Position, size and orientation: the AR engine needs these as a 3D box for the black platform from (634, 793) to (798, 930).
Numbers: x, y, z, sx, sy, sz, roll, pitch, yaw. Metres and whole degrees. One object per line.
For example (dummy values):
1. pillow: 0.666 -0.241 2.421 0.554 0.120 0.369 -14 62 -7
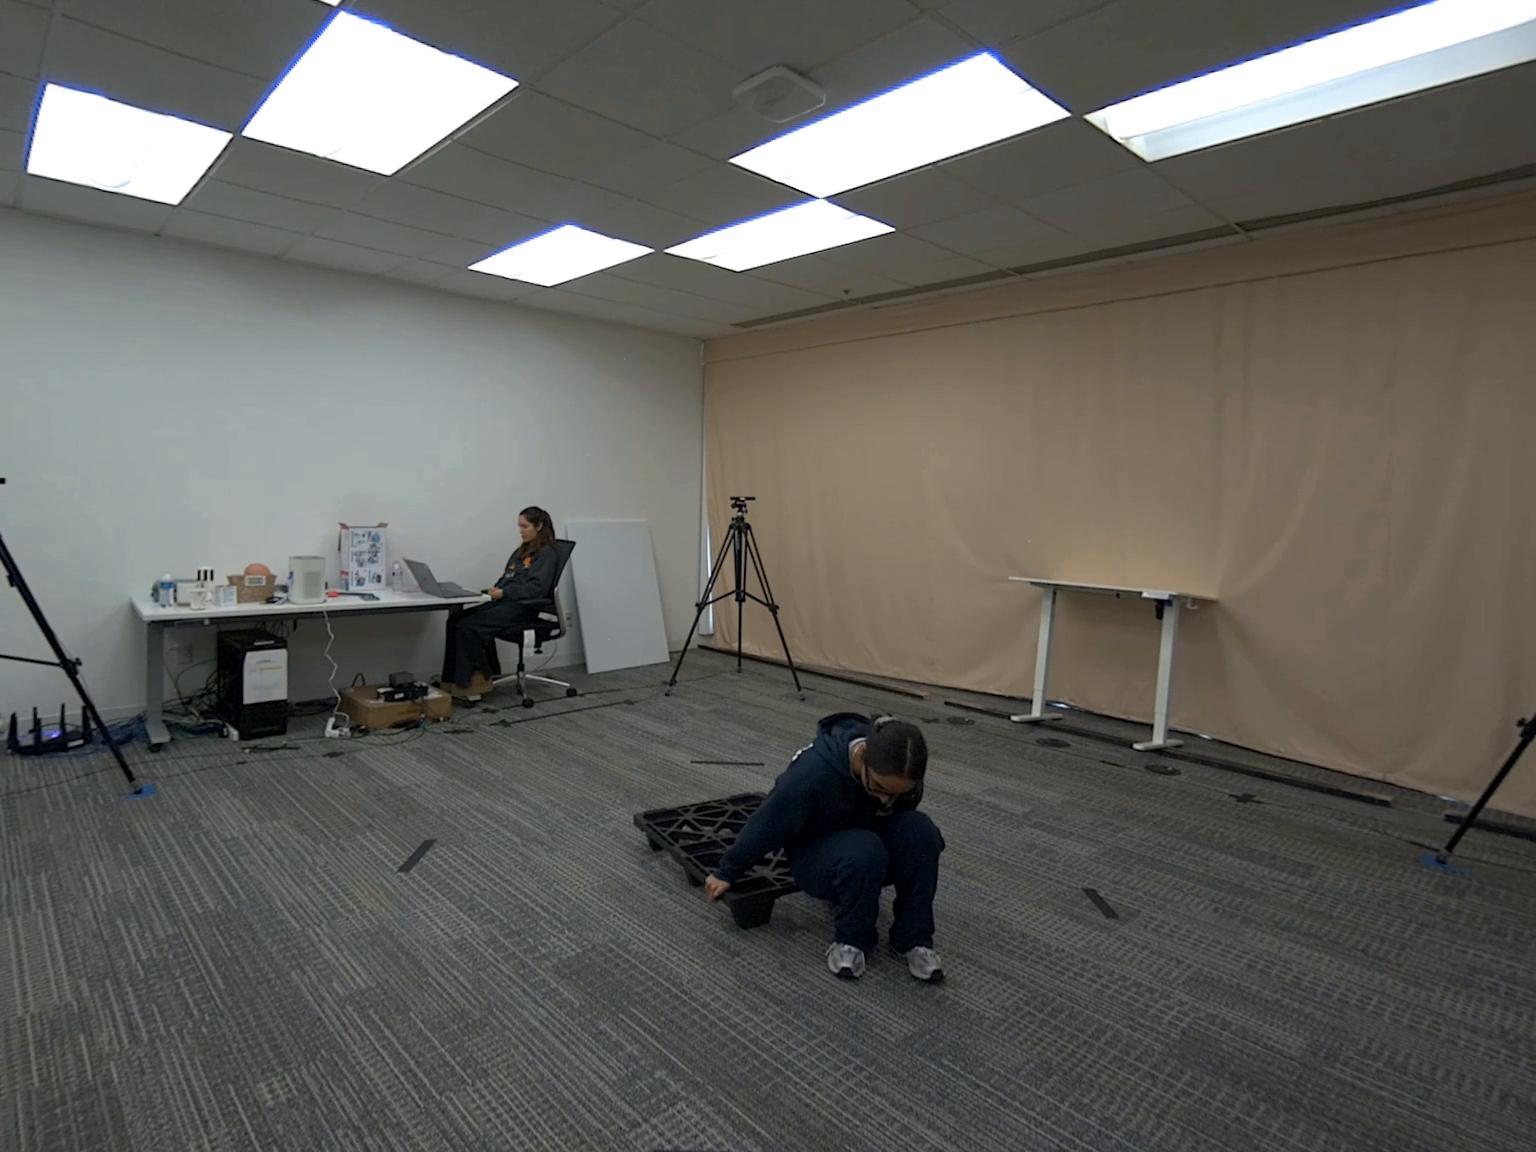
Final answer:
1. black platform: -0.087 1.036 3.147 0.593 0.143 0.824 -1 6 -31
